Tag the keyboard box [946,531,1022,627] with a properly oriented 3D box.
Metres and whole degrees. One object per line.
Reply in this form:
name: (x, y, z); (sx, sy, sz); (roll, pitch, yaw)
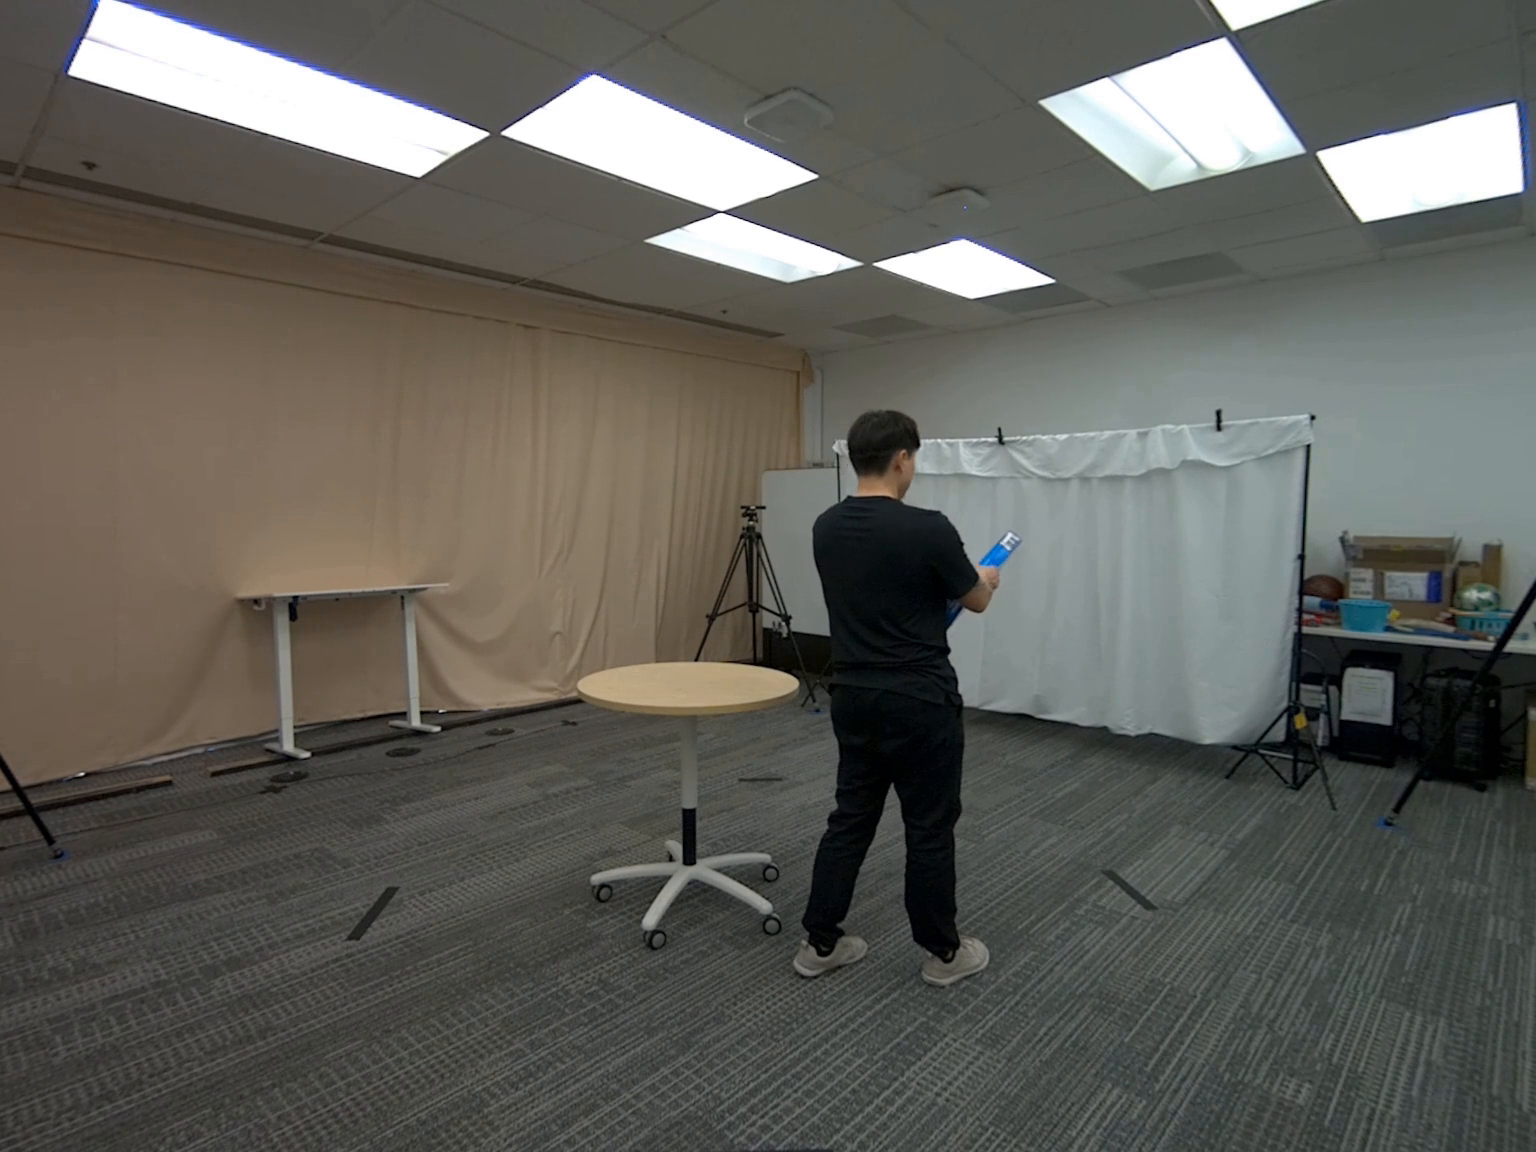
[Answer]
keyboard box: (0.718, 0.009, 2.834); (0.060, 0.175, 0.431); (37, 47, 15)
